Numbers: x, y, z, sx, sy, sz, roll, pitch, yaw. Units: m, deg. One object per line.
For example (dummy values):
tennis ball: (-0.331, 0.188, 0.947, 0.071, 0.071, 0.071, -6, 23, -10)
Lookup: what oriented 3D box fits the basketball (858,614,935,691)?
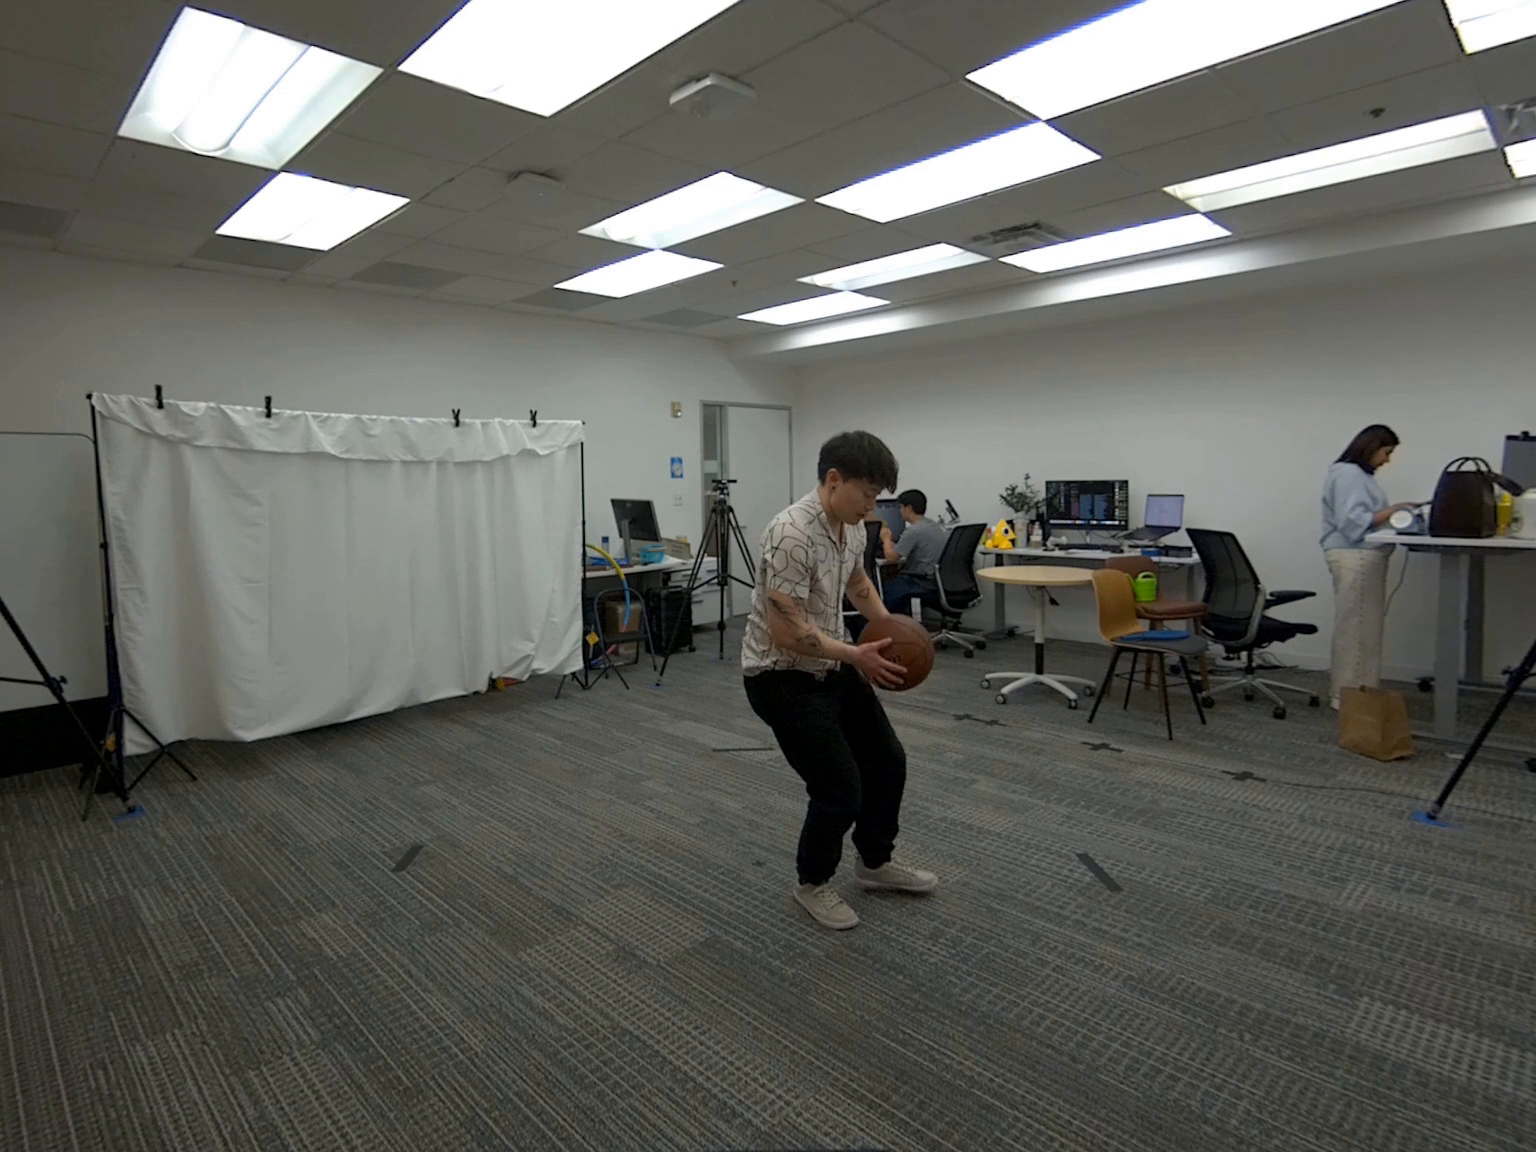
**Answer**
basketball: (0.395, 0.237, 2.644, 0.236, 0.235, 0.237, -1, 5, -2)
